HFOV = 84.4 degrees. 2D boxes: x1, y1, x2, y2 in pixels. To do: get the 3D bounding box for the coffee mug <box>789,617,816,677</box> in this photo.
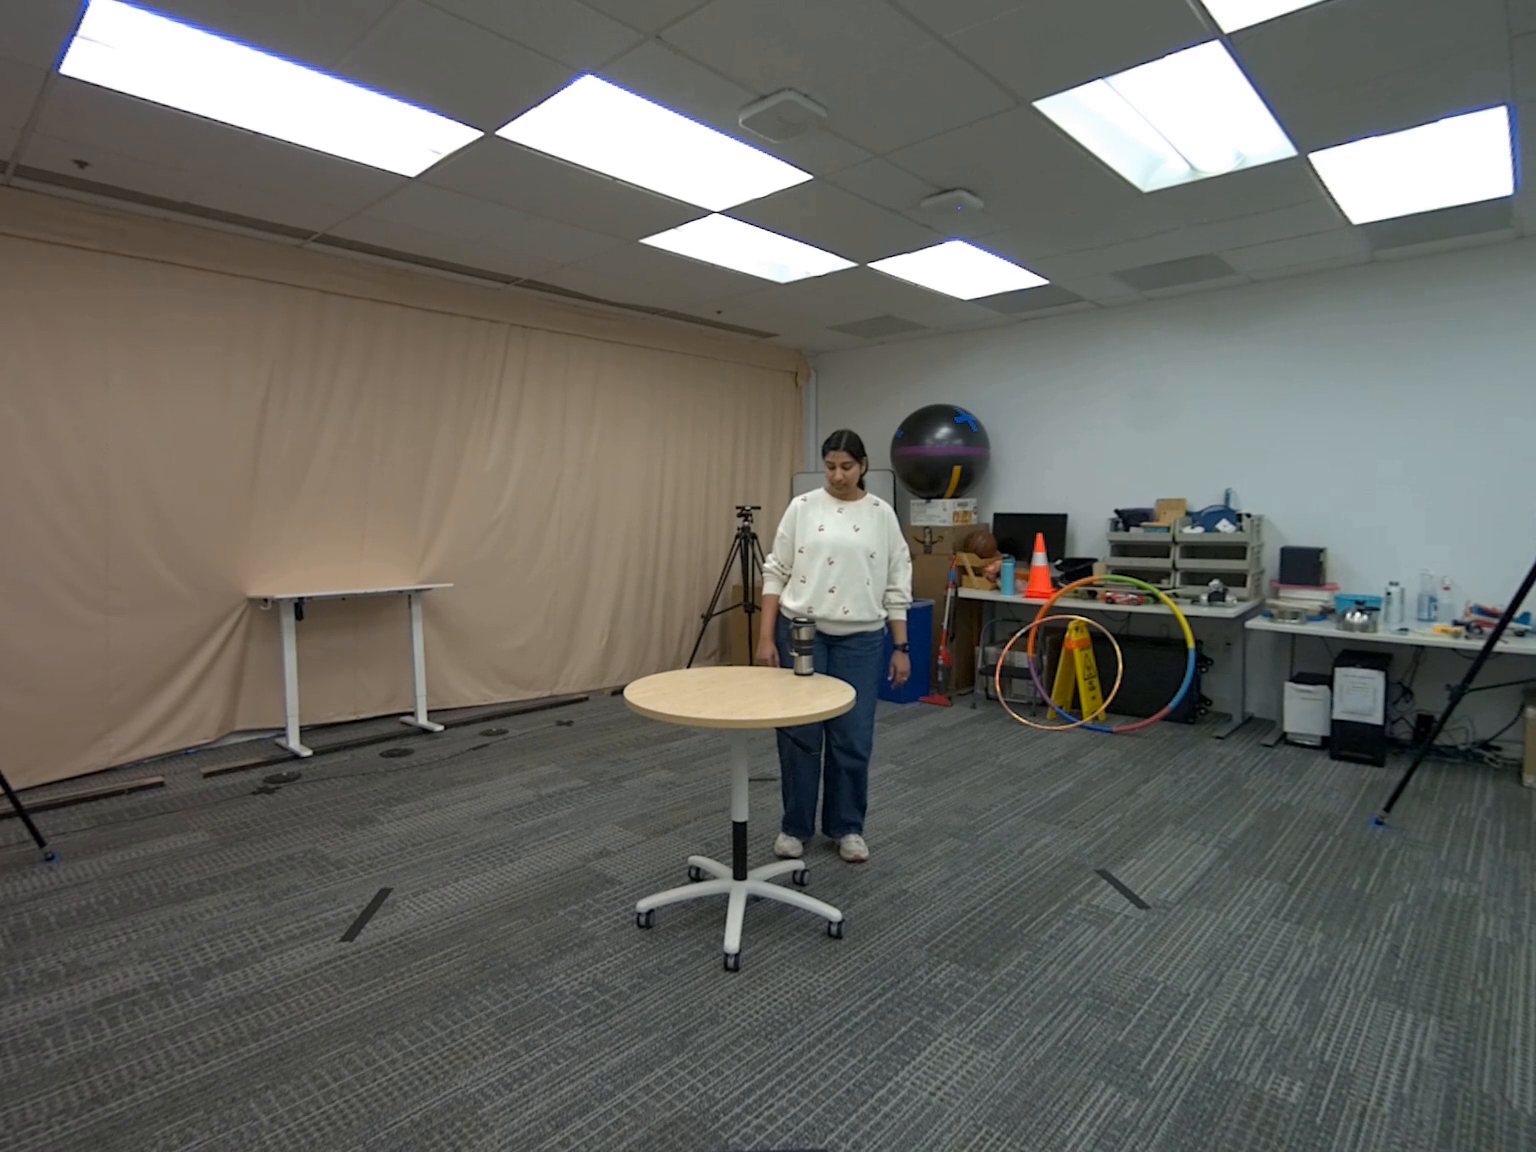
[{"bbox_3d":[0.105,0.253,3.021,0.119,0.202,0.090,1,5,-23],"label":"coffee mug"}]
